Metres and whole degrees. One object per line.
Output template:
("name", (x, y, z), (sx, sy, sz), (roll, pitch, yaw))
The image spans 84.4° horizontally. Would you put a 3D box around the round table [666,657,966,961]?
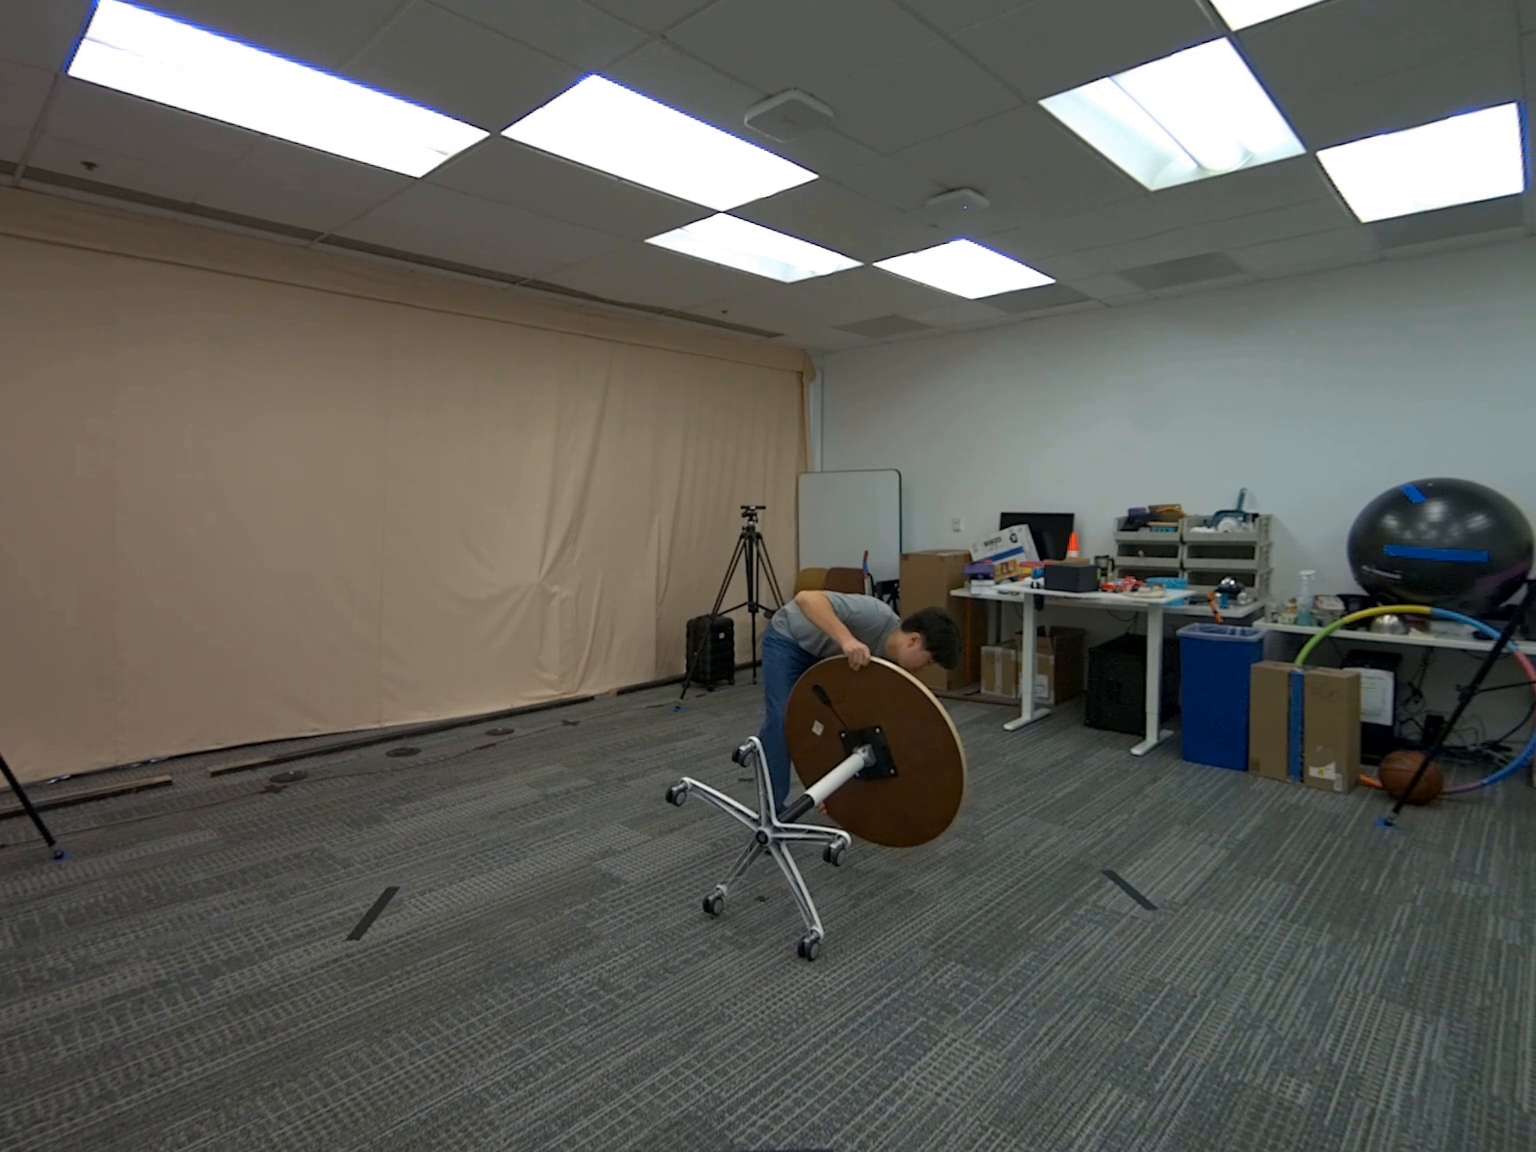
("round table", (0.171, 0.767, 2.924), (0.789, 0.757, 0.775), (3, 16, 39))
